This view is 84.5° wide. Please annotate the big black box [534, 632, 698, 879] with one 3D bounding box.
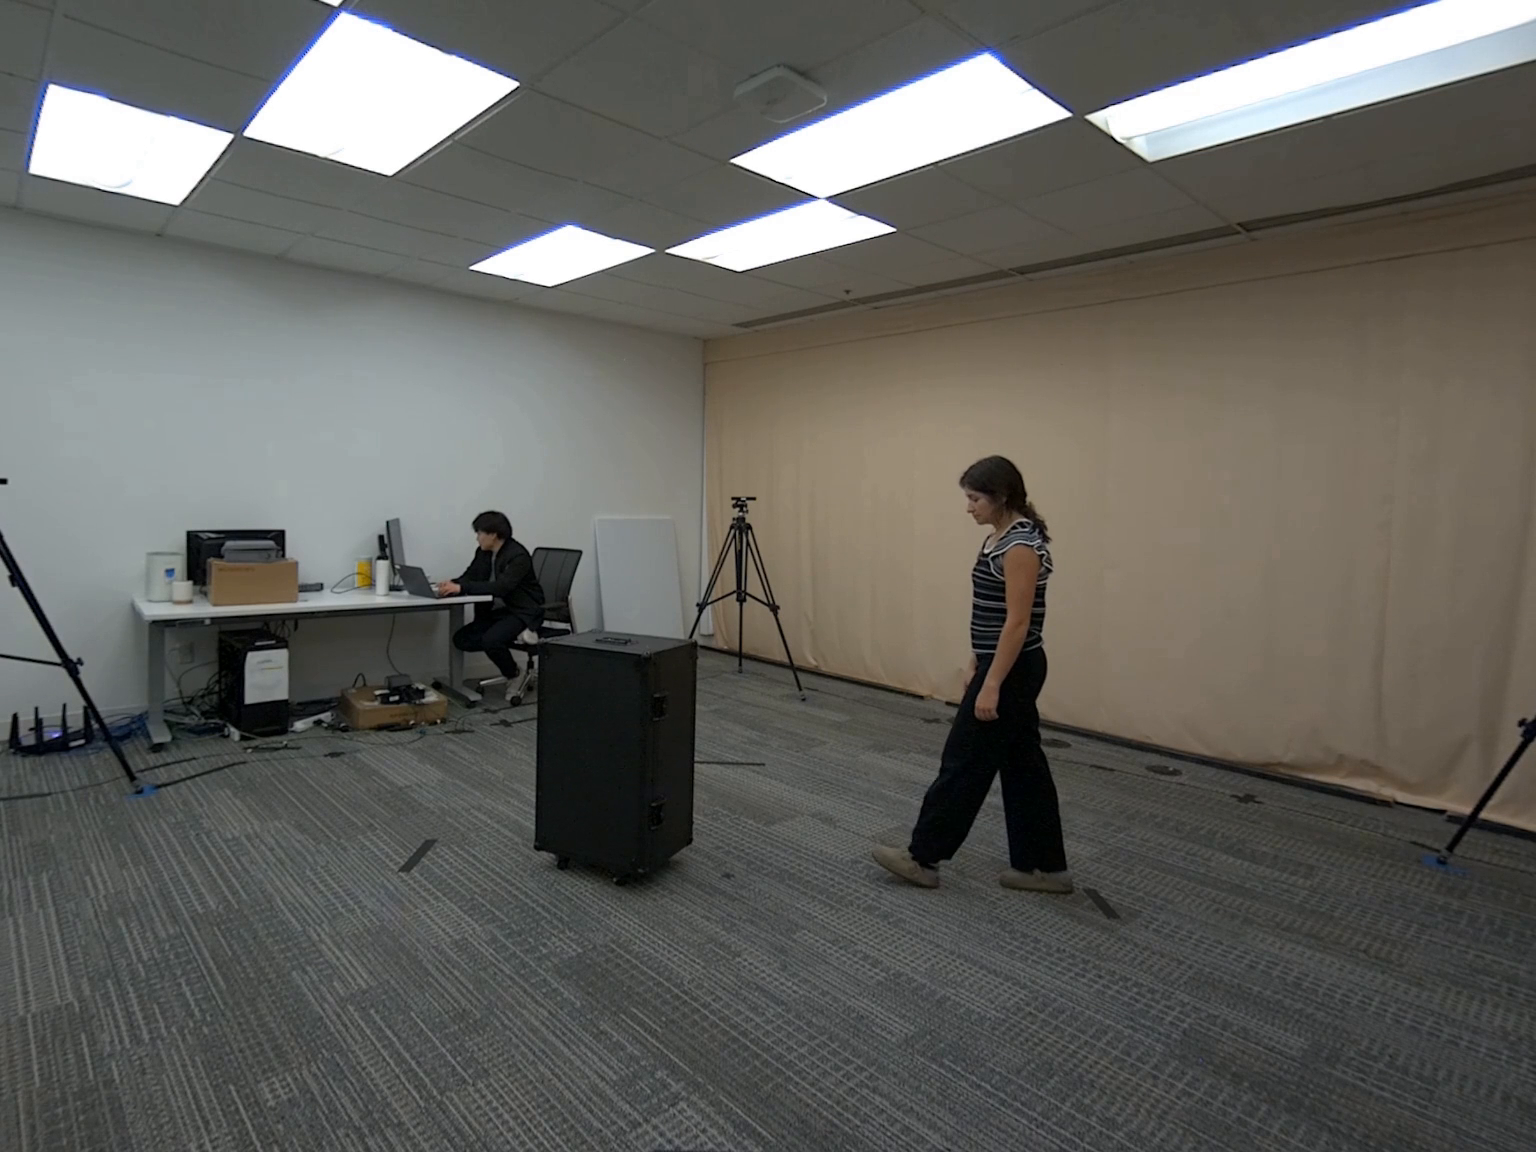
[{"bbox_3d":[-0.573,0.662,3.169,0.531,0.860,0.389,3,2,25],"label":"big black box"}]
